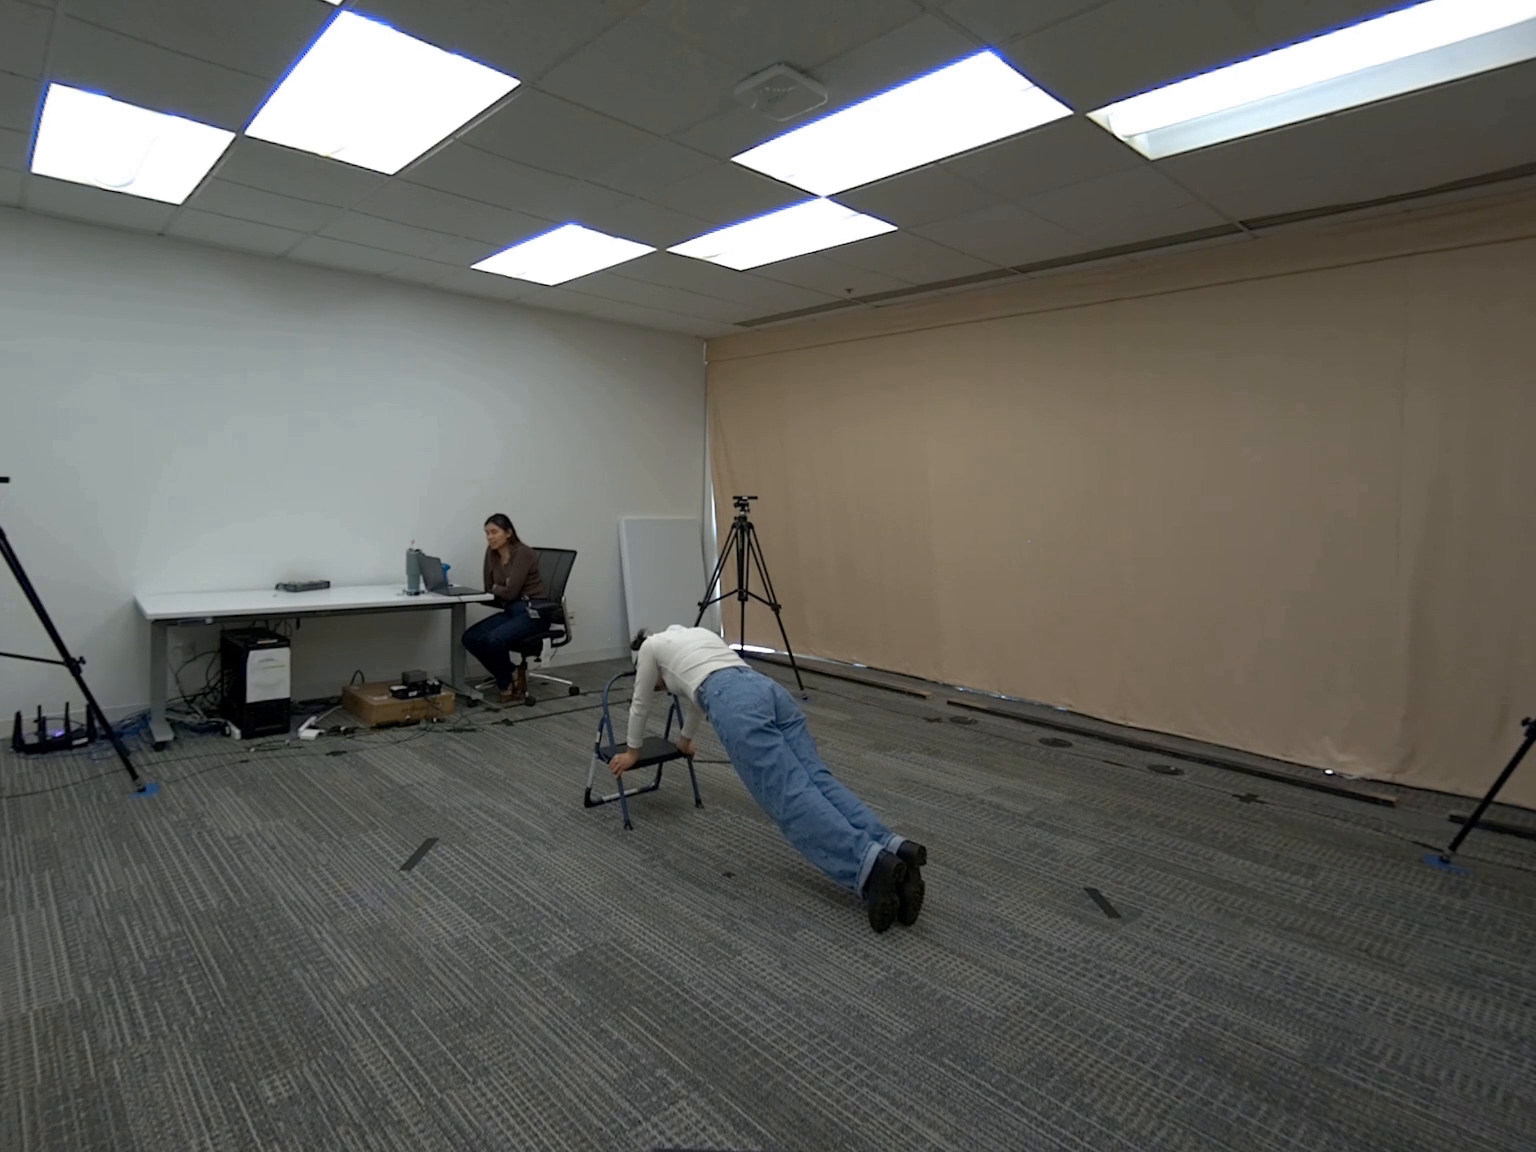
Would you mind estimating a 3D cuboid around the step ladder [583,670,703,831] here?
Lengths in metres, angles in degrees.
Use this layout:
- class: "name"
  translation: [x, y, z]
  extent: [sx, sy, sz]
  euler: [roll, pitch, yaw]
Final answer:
- class: "step ladder"
  translation: [-0.558, 0.736, 3.754]
  extent: [0.358, 0.605, 0.421]
  euler: [5, 5, 45]
